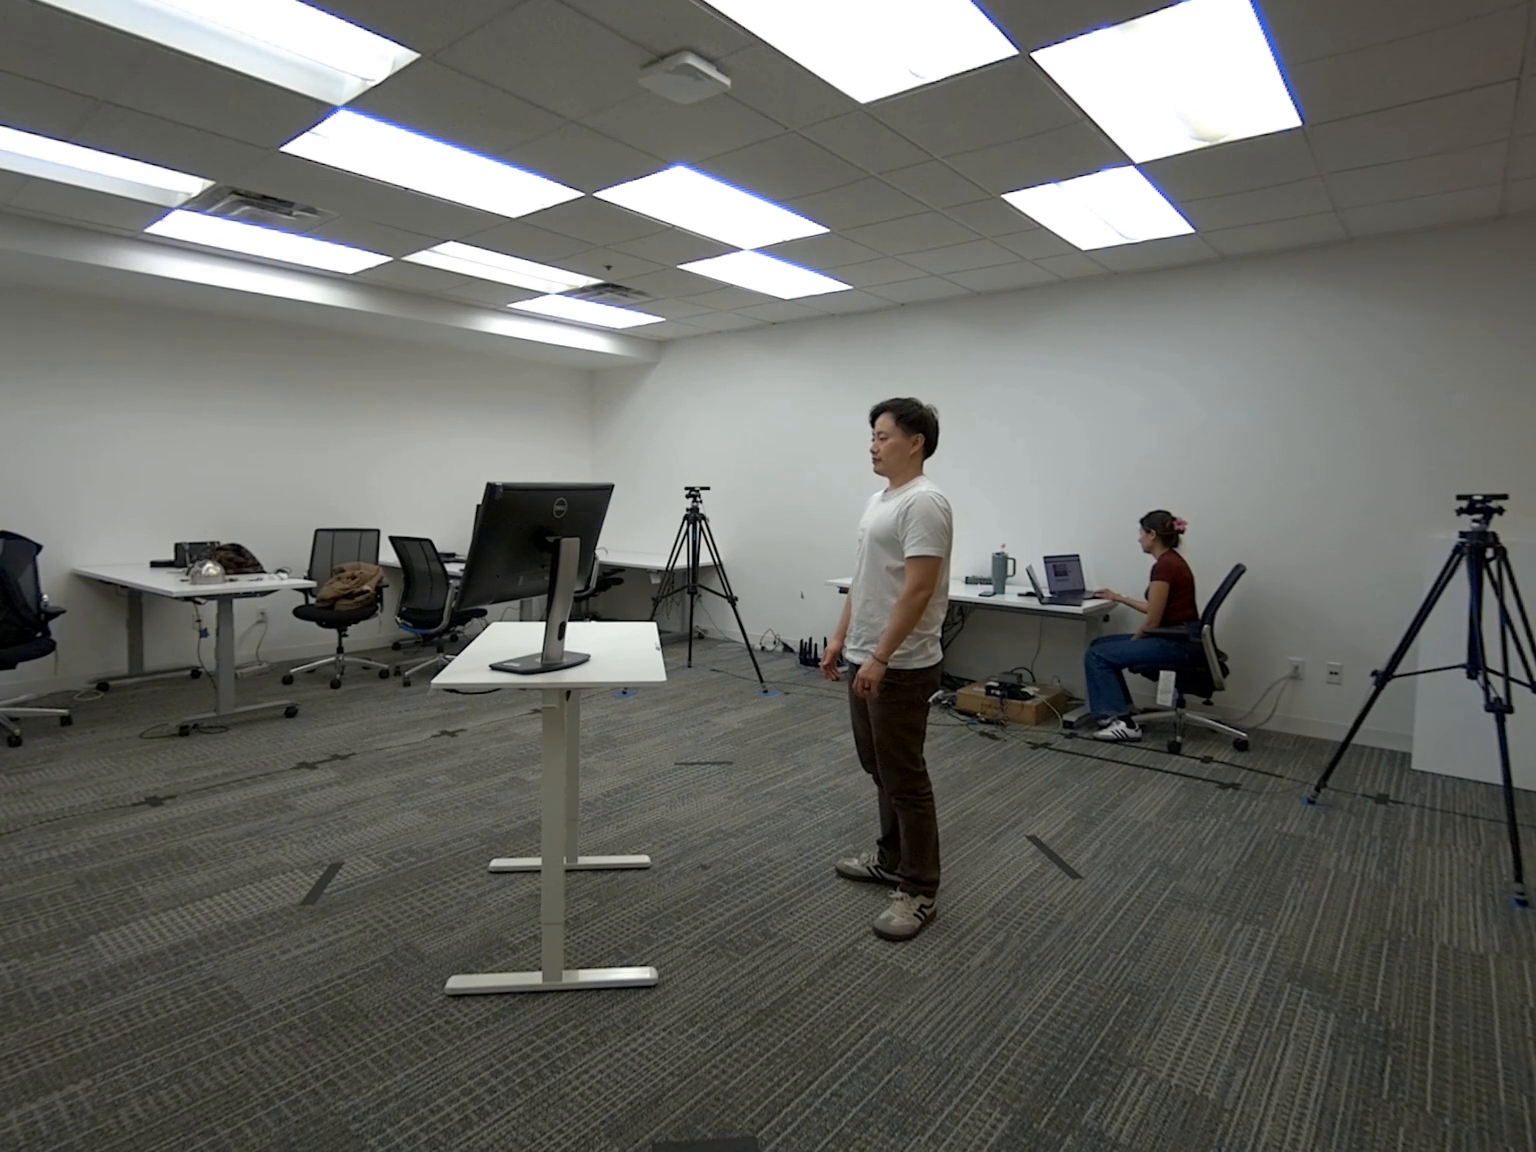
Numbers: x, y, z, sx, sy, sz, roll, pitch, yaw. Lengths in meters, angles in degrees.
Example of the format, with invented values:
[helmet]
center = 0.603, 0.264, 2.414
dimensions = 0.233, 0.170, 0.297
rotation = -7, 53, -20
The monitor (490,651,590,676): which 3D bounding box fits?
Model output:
[monitor]
center = -0.625, -0.001, 2.385
dimensions = 0.192, 0.520, 0.528
rotation = 7, 7, 22
